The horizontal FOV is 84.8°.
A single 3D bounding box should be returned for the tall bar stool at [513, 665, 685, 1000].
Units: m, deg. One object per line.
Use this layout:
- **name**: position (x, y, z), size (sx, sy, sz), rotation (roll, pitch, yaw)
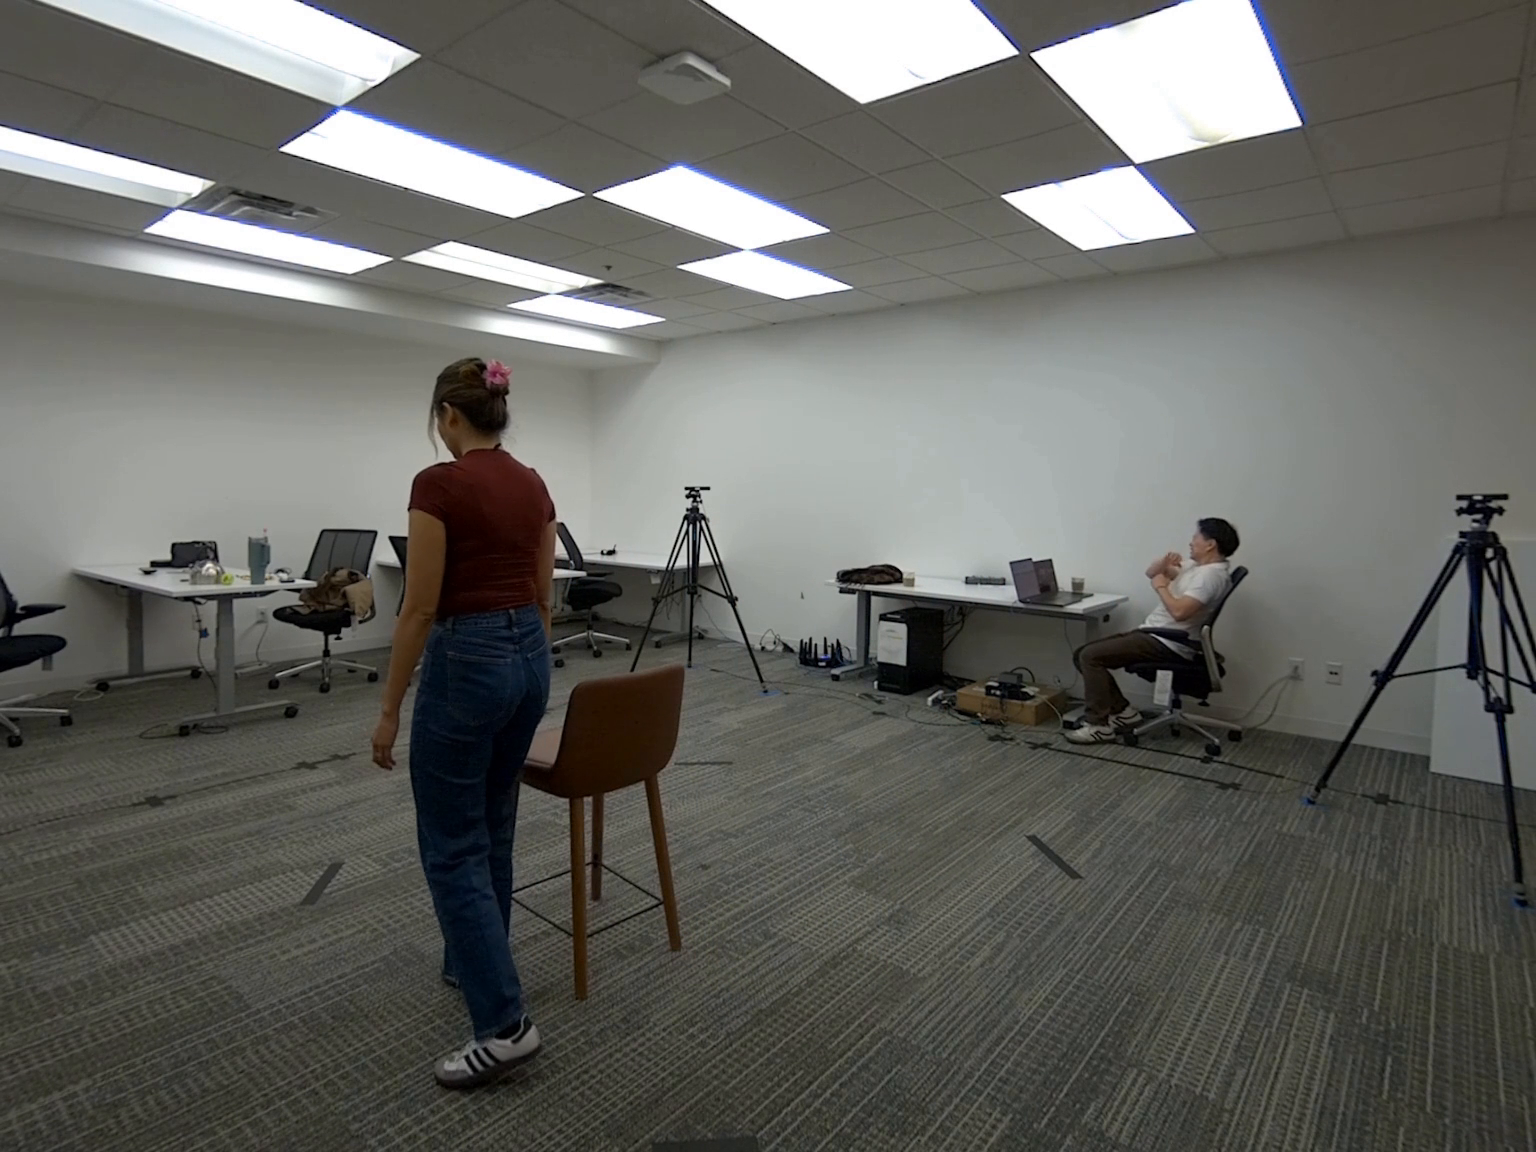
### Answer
- **tall bar stool**: position (-0.545, 0.681, 2.558), size (0.484, 0.886, 0.443), rotation (7, 7, 43)
